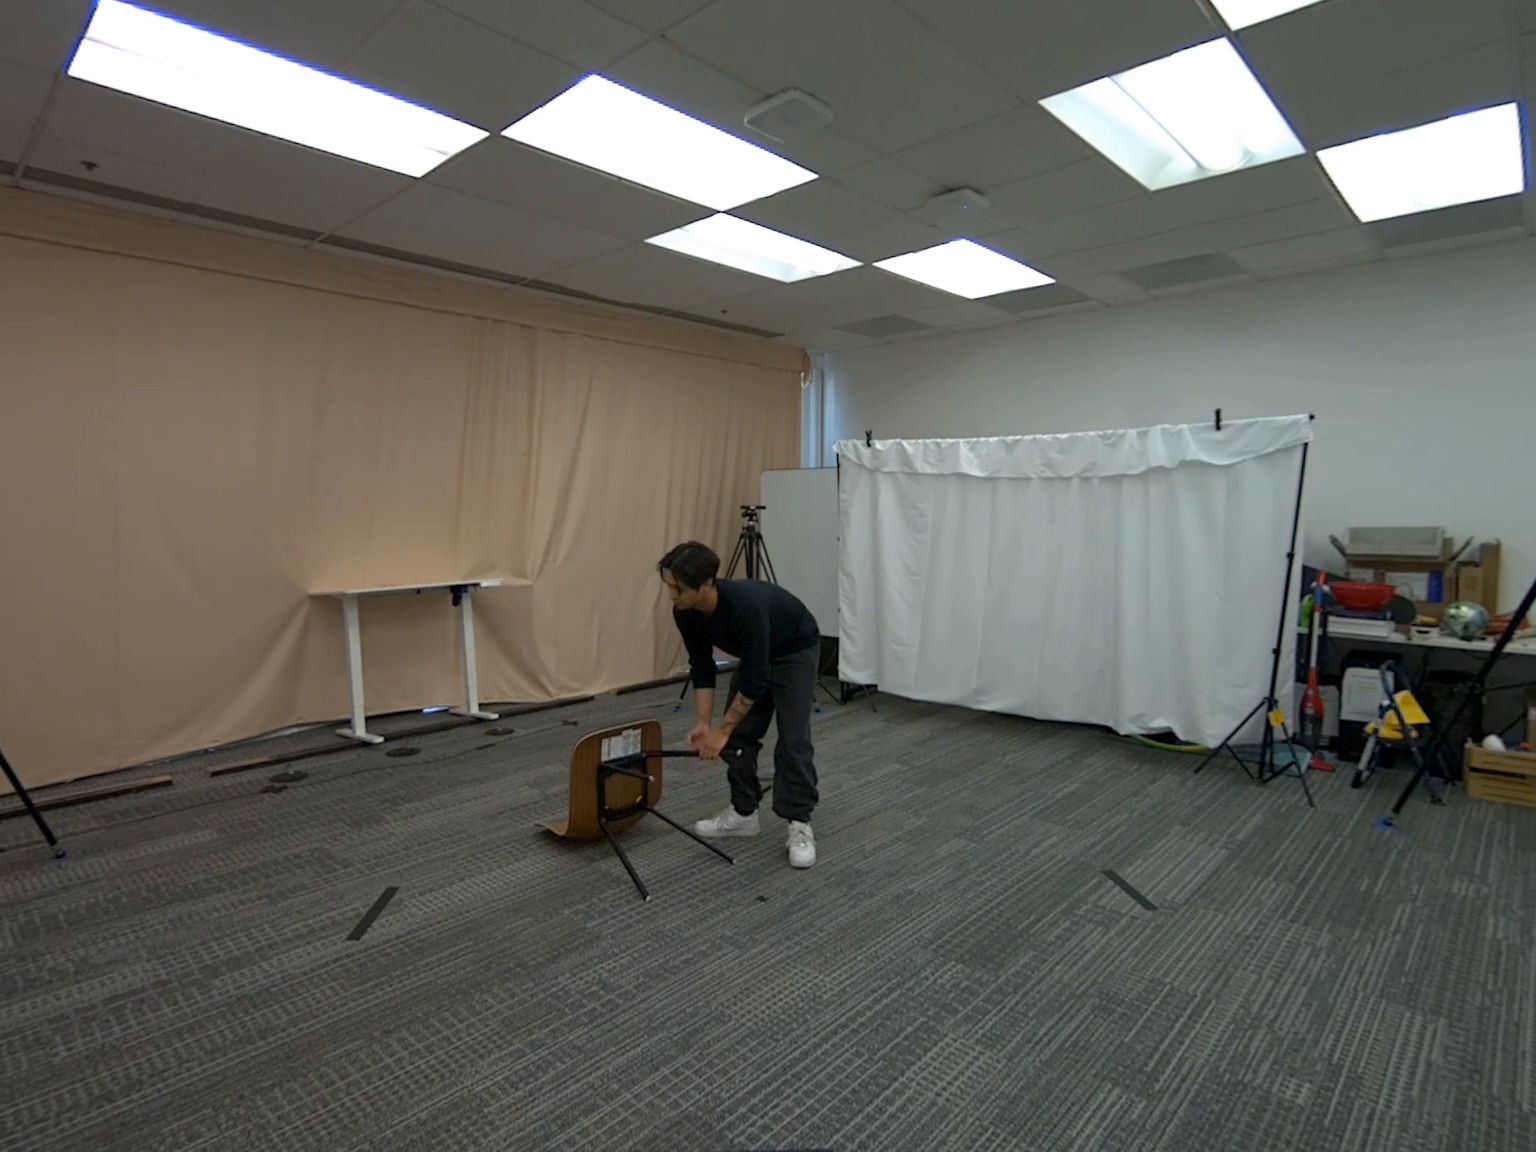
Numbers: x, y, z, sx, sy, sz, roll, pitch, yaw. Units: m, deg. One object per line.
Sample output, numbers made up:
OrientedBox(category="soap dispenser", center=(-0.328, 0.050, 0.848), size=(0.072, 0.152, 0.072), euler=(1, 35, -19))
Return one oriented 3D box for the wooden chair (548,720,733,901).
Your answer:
OrientedBox(category="wooden chair", center=(-0.577, 0.856, 3.412), size=(0.906, 0.522, 0.463), euler=(2, 4, 45))
